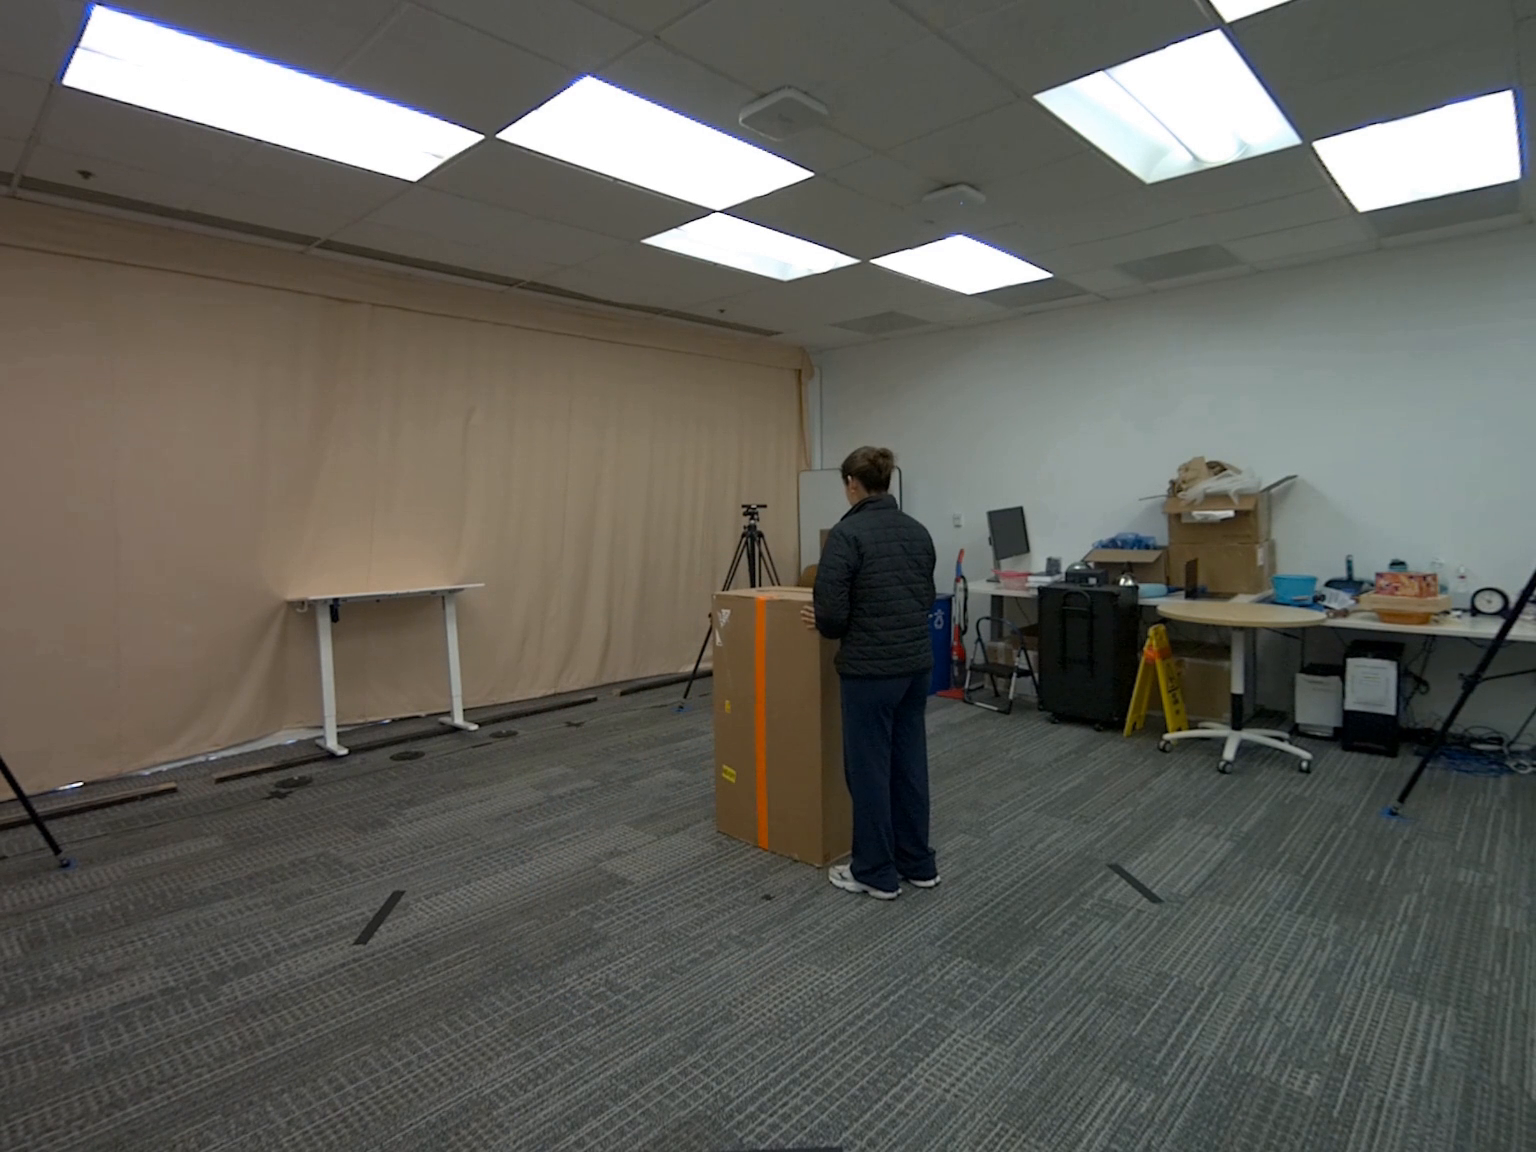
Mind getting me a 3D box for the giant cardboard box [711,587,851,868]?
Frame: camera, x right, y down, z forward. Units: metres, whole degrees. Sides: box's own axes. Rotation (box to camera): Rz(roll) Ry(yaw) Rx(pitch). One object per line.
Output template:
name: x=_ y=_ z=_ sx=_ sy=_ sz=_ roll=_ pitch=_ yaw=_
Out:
giant cardboard box: x=0.125 y=0.582 z=3.531 sx=0.596 sy=1.024 sz=0.413 roll=2 pitch=4 yaw=44
